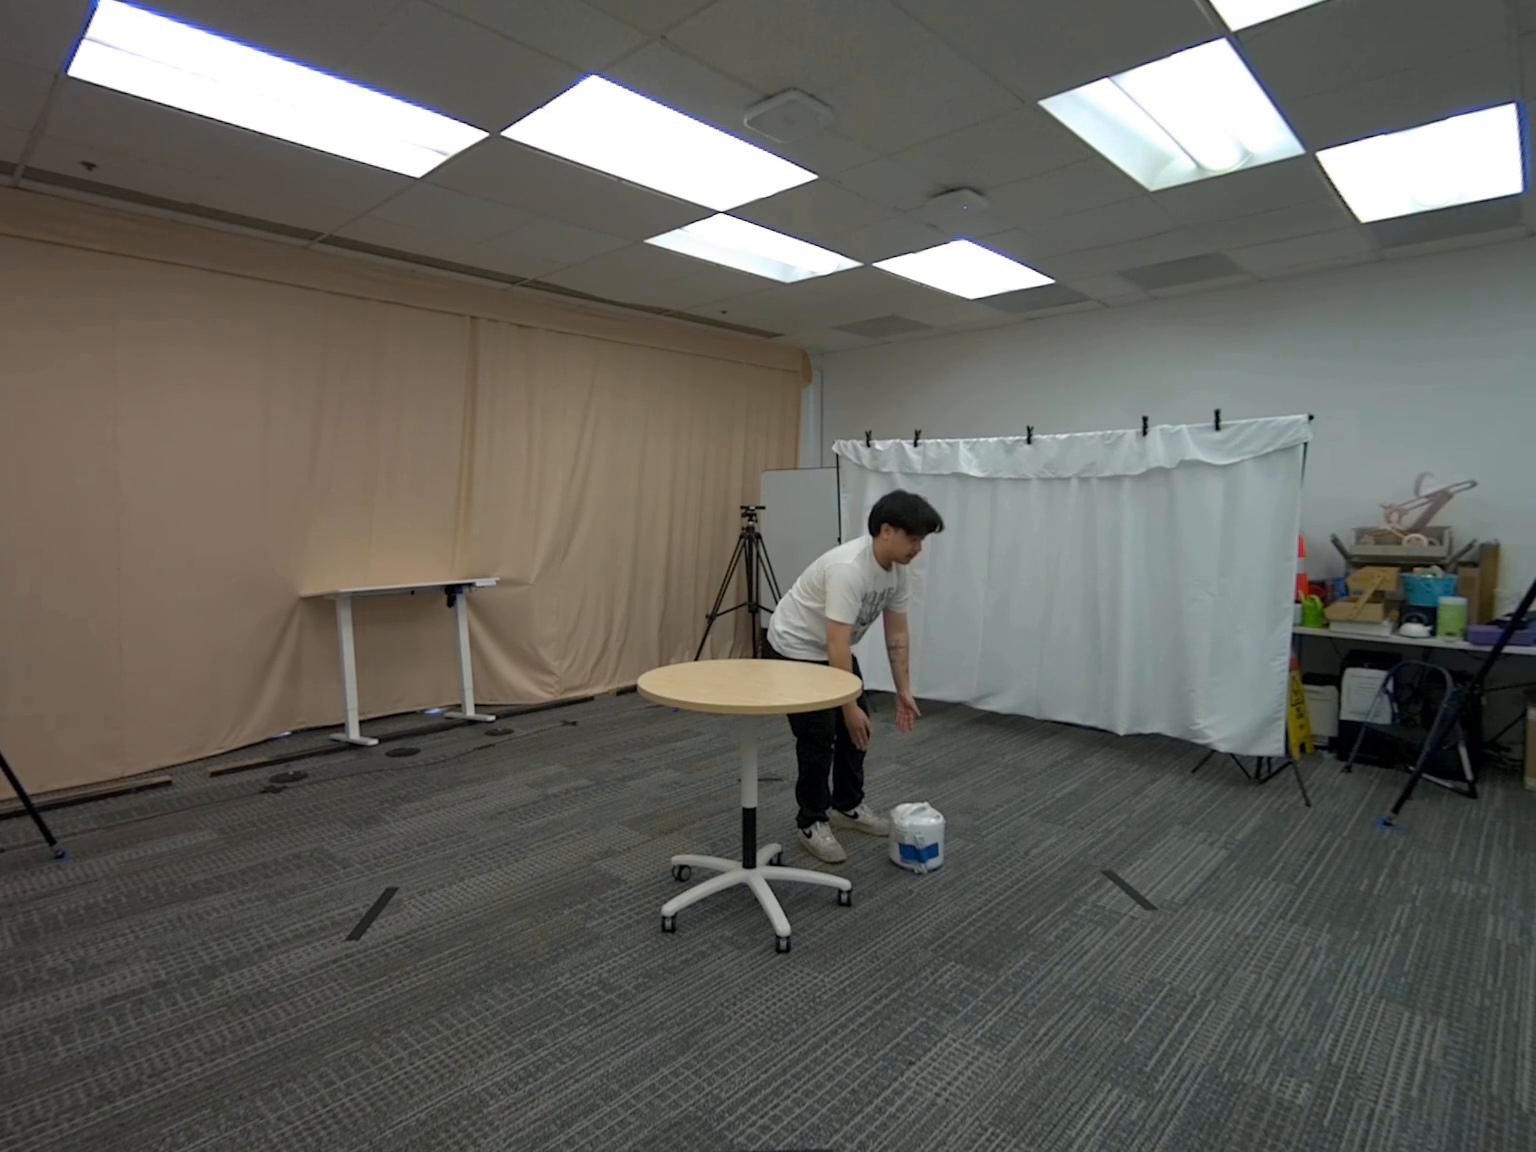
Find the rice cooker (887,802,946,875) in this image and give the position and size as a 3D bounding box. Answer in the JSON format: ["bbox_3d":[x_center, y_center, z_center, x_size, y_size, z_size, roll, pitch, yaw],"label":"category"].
[{"bbox_3d":[0.575,0.999,3.281,0.214,0.232,0.225,-3,5,-42],"label":"rice cooker"}]
